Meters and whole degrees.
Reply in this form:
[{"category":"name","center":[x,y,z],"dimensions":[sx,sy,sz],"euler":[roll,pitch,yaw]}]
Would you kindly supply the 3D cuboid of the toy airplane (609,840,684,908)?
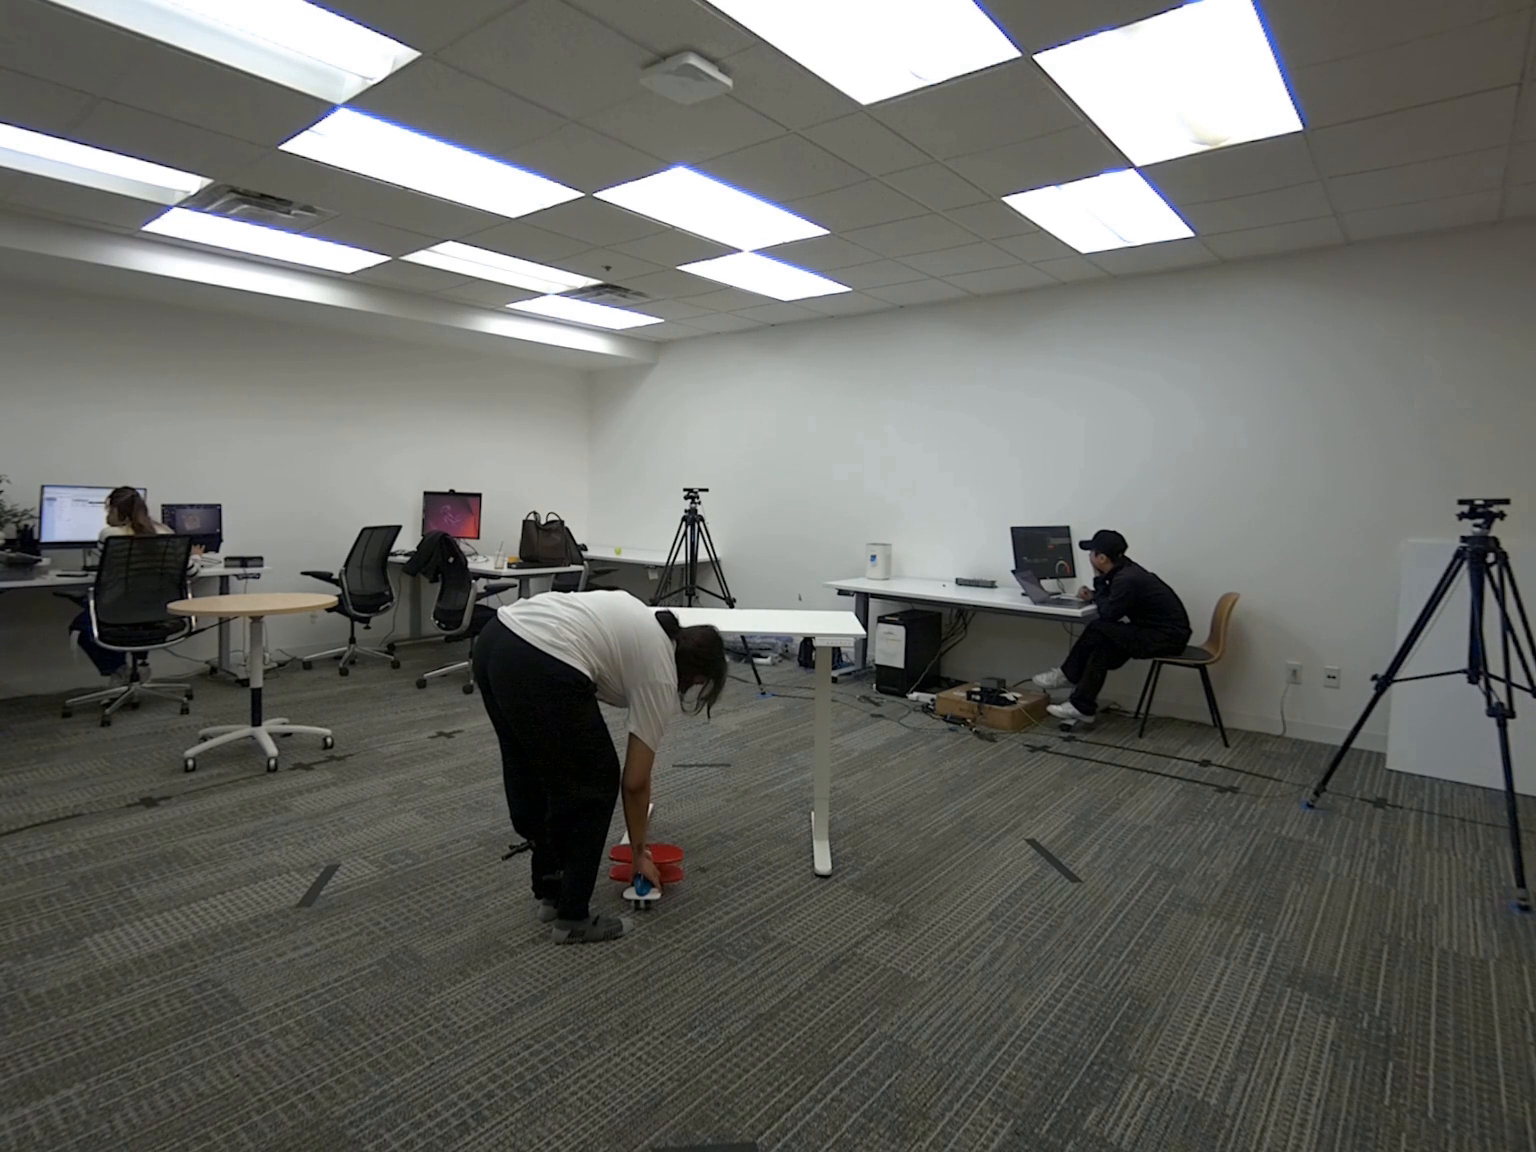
[{"category":"toy airplane","center":[-0.399,1.009,2.888],"dimensions":[0.244,0.156,0.267],"euler":[-3,4,-32]}]
